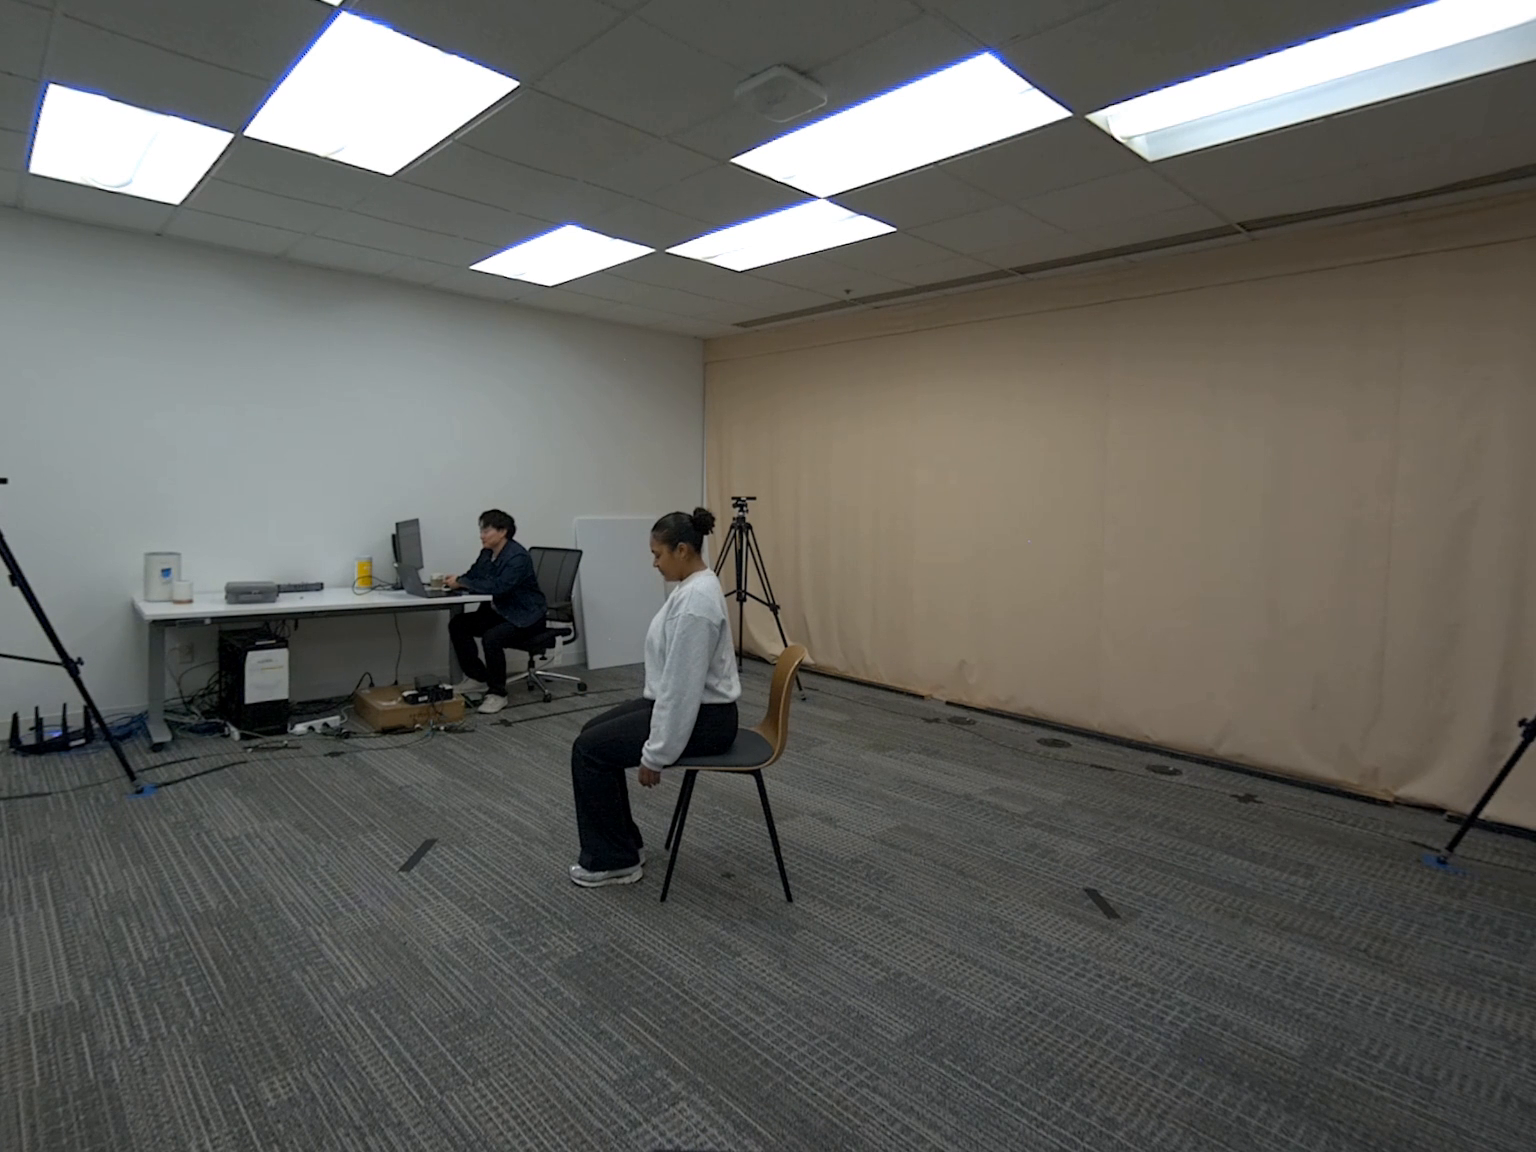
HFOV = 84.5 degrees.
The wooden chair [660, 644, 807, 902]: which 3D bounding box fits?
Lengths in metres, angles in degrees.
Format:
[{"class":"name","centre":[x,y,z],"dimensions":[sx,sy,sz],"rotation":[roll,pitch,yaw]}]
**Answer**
[{"class":"wooden chair","centre":[-0.164,0.680,3.089],"dimensions":[0.521,0.875,0.481],"rotation":[5,3,-4]}]
